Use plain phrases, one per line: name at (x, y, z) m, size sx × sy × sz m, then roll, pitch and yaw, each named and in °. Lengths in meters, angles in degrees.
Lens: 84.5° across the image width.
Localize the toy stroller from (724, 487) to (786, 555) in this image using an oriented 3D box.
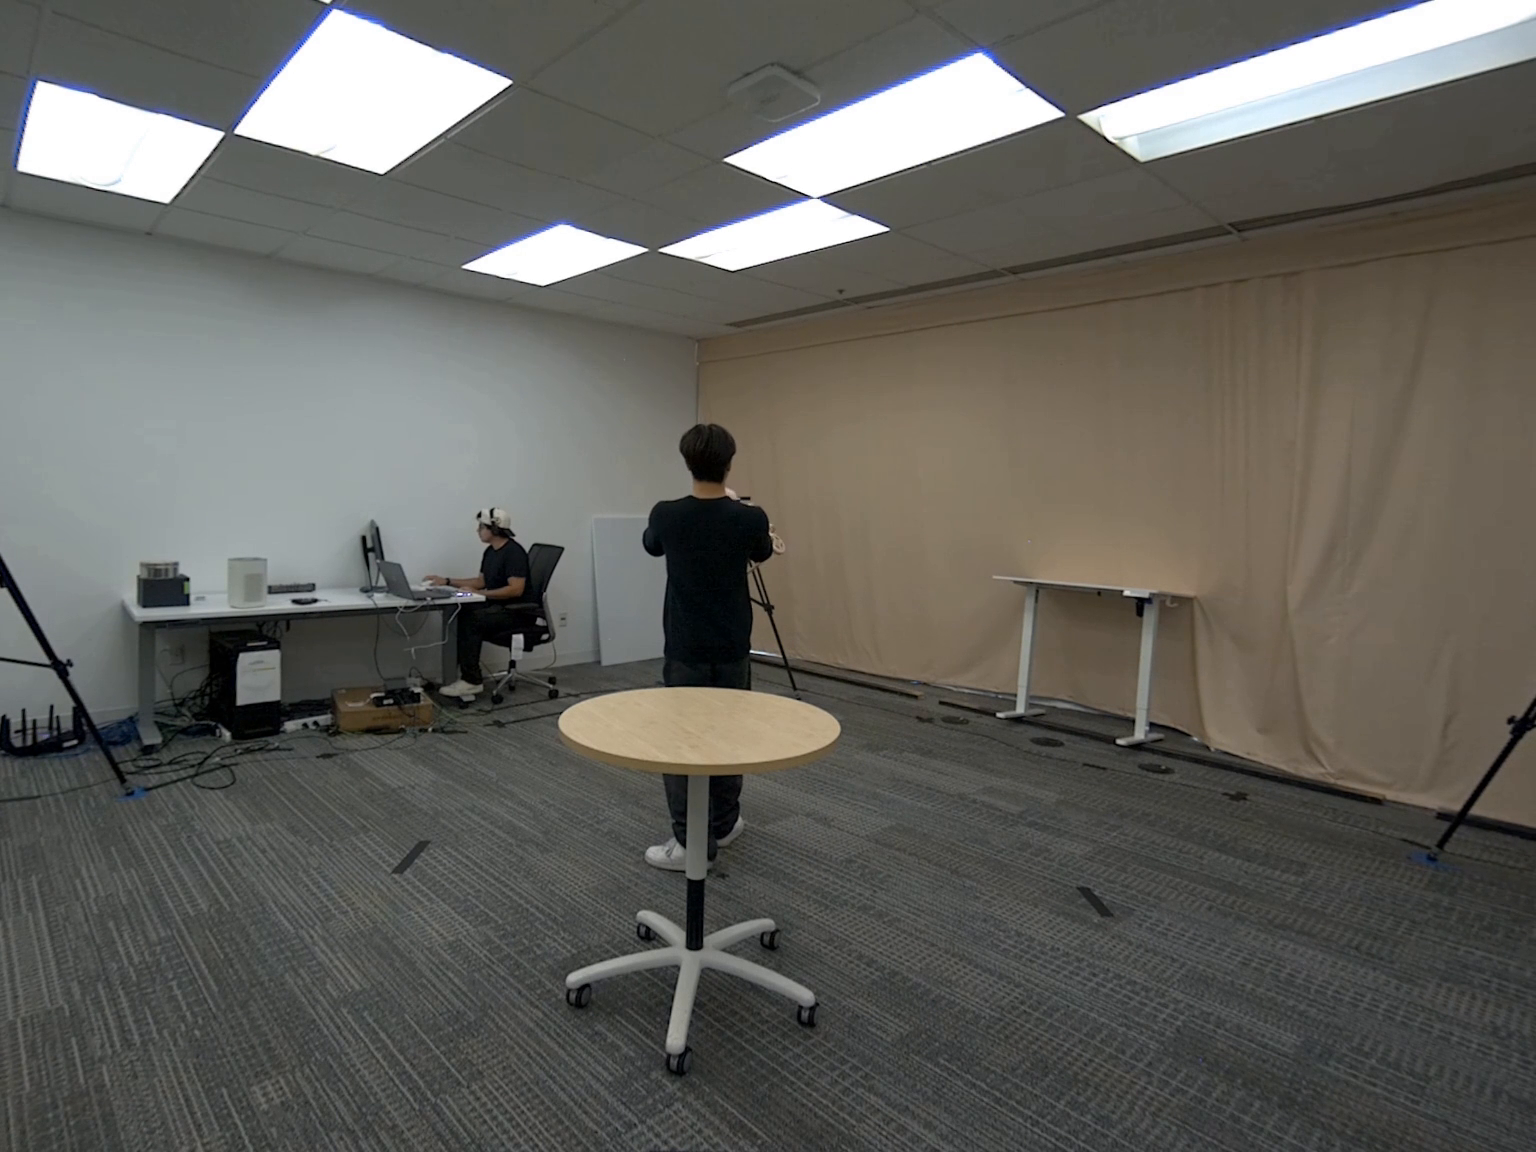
toy stroller at (-0.156, -0.223, 3.889) m, size 0.282 × 0.526 × 0.346 m, roll -39°, pitch 18°, yaw 30°
